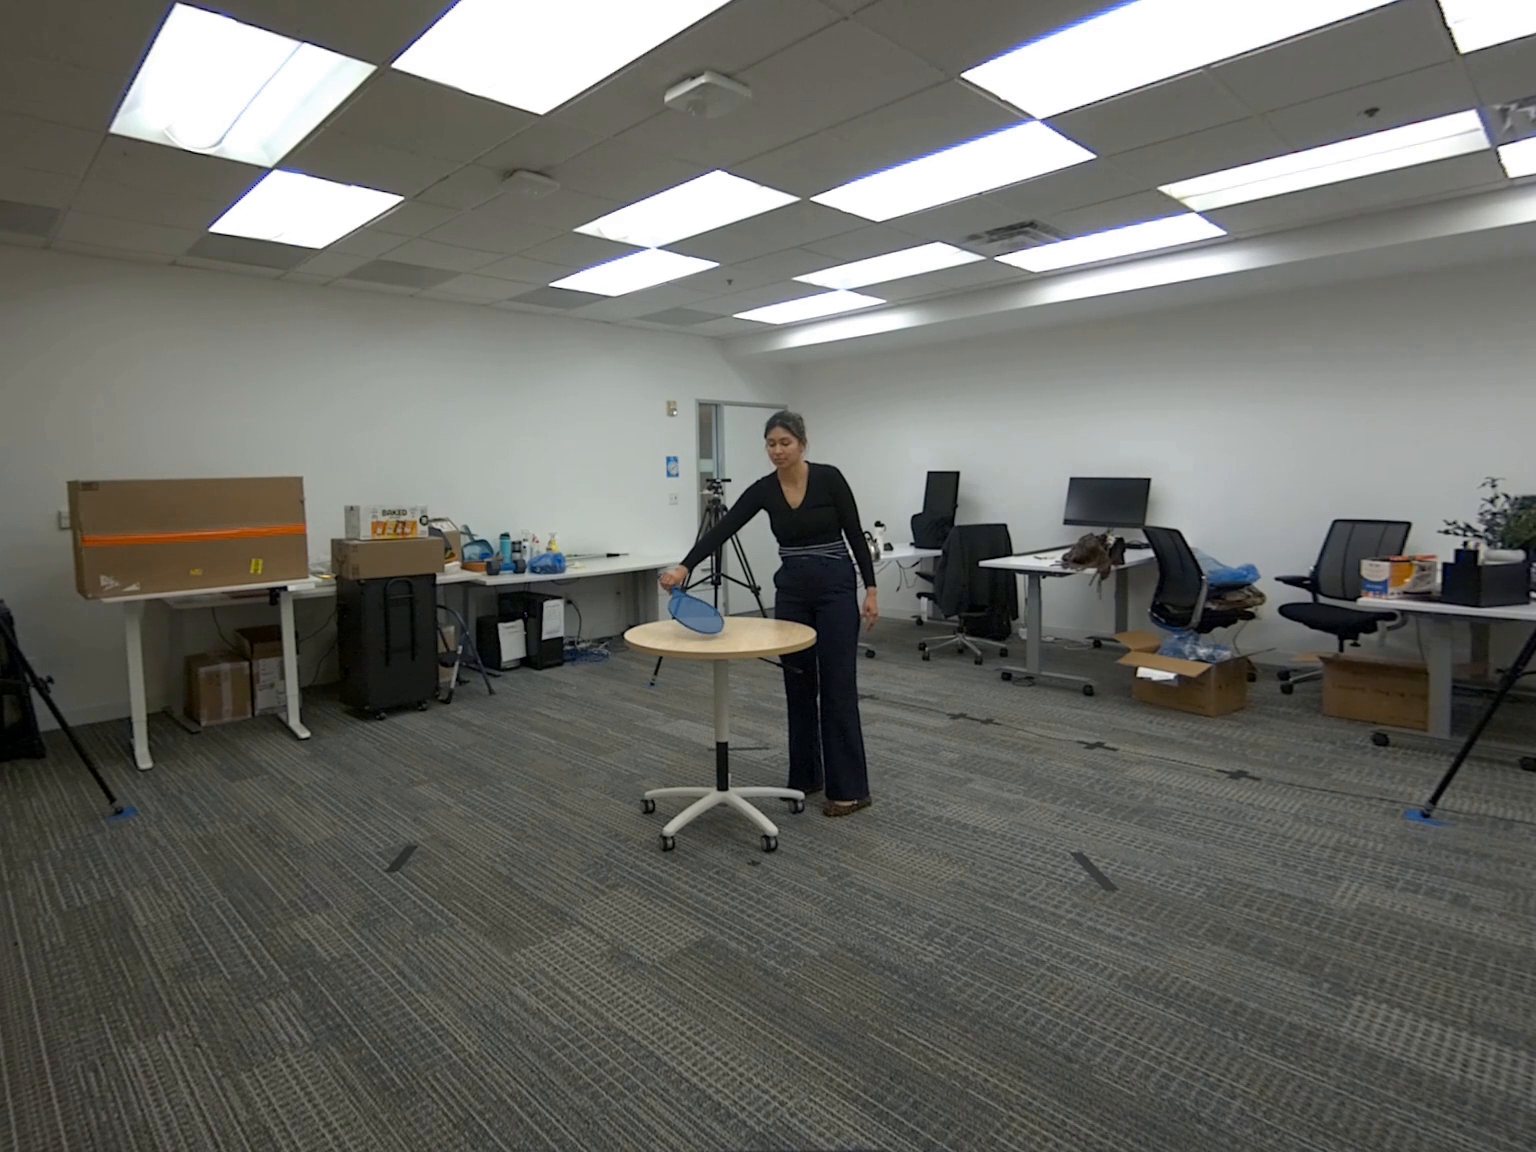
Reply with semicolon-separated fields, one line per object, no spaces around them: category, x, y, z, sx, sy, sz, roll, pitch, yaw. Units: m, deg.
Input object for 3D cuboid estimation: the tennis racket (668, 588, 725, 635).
tennis racket;-0.309;0.100;3.407;0.208;0.031;0.450;-2;29;-33
